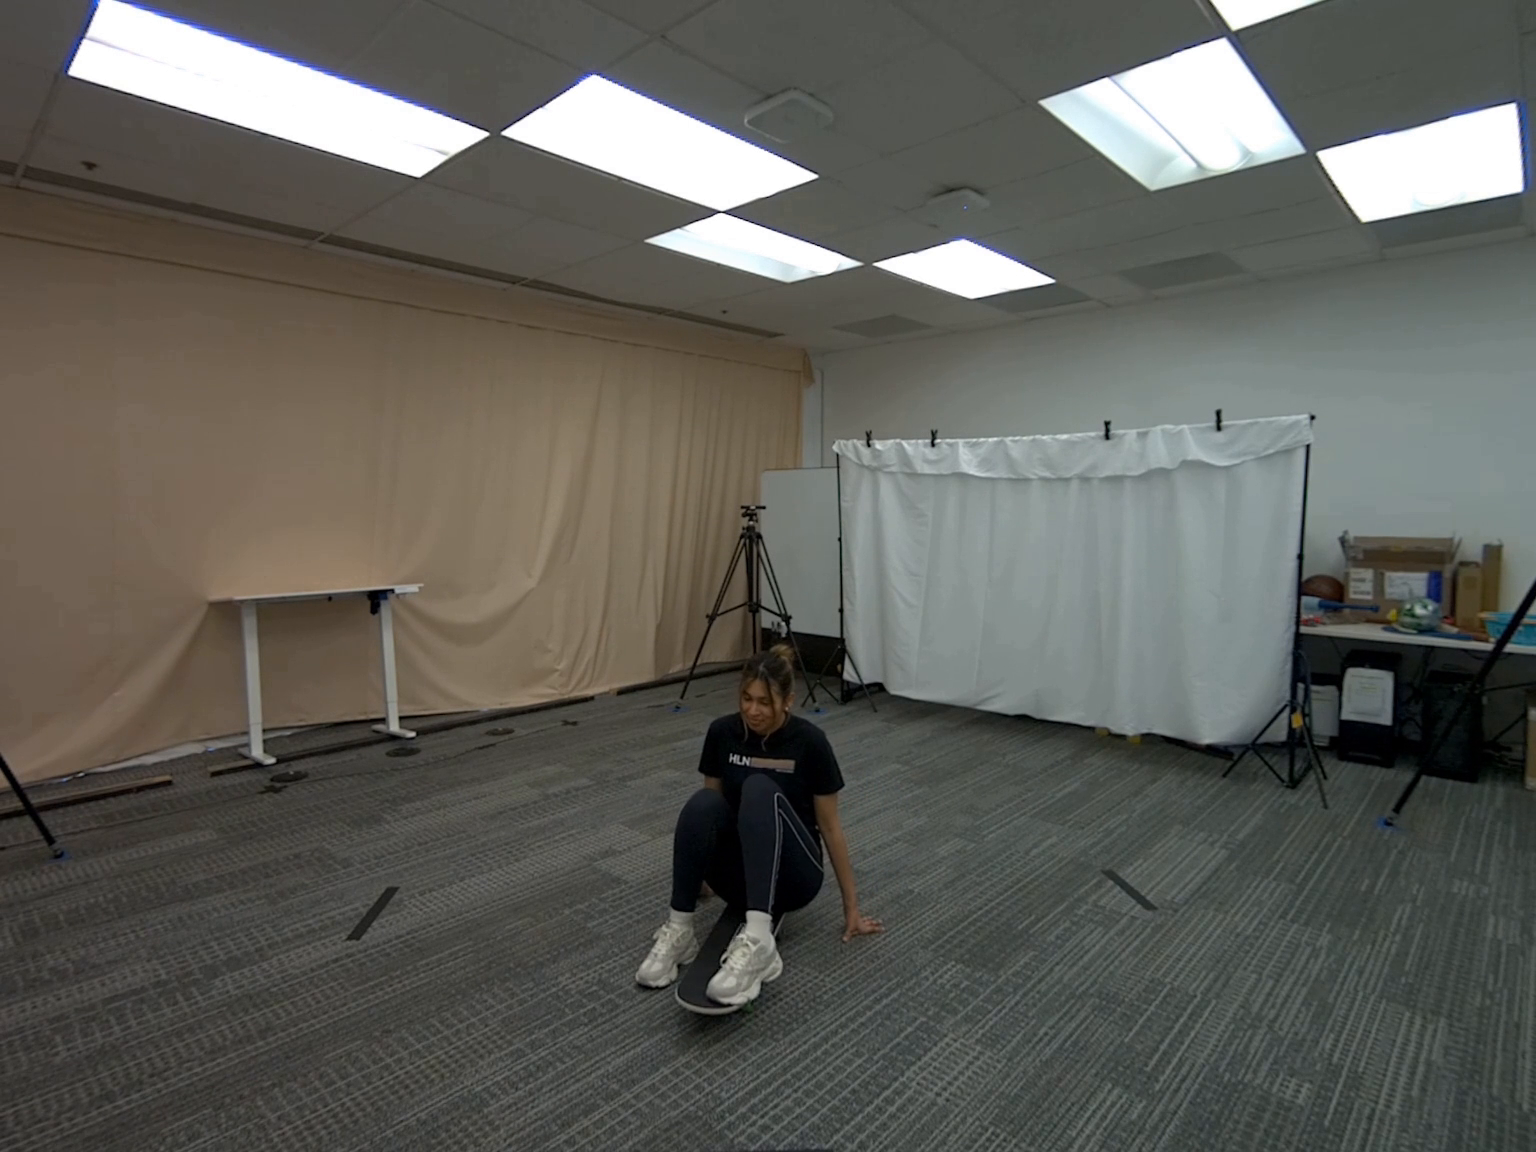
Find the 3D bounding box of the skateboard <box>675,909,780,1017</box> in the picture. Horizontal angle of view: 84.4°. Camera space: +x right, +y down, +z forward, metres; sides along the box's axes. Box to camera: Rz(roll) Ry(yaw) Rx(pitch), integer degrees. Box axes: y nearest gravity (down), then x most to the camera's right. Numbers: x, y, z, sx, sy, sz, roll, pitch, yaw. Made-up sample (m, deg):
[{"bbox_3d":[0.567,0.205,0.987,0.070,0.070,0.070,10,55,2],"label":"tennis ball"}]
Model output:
[{"bbox_3d":[-0.084,1.125,2.535,0.197,0.110,0.773,3,4,15],"label":"skateboard"}]
